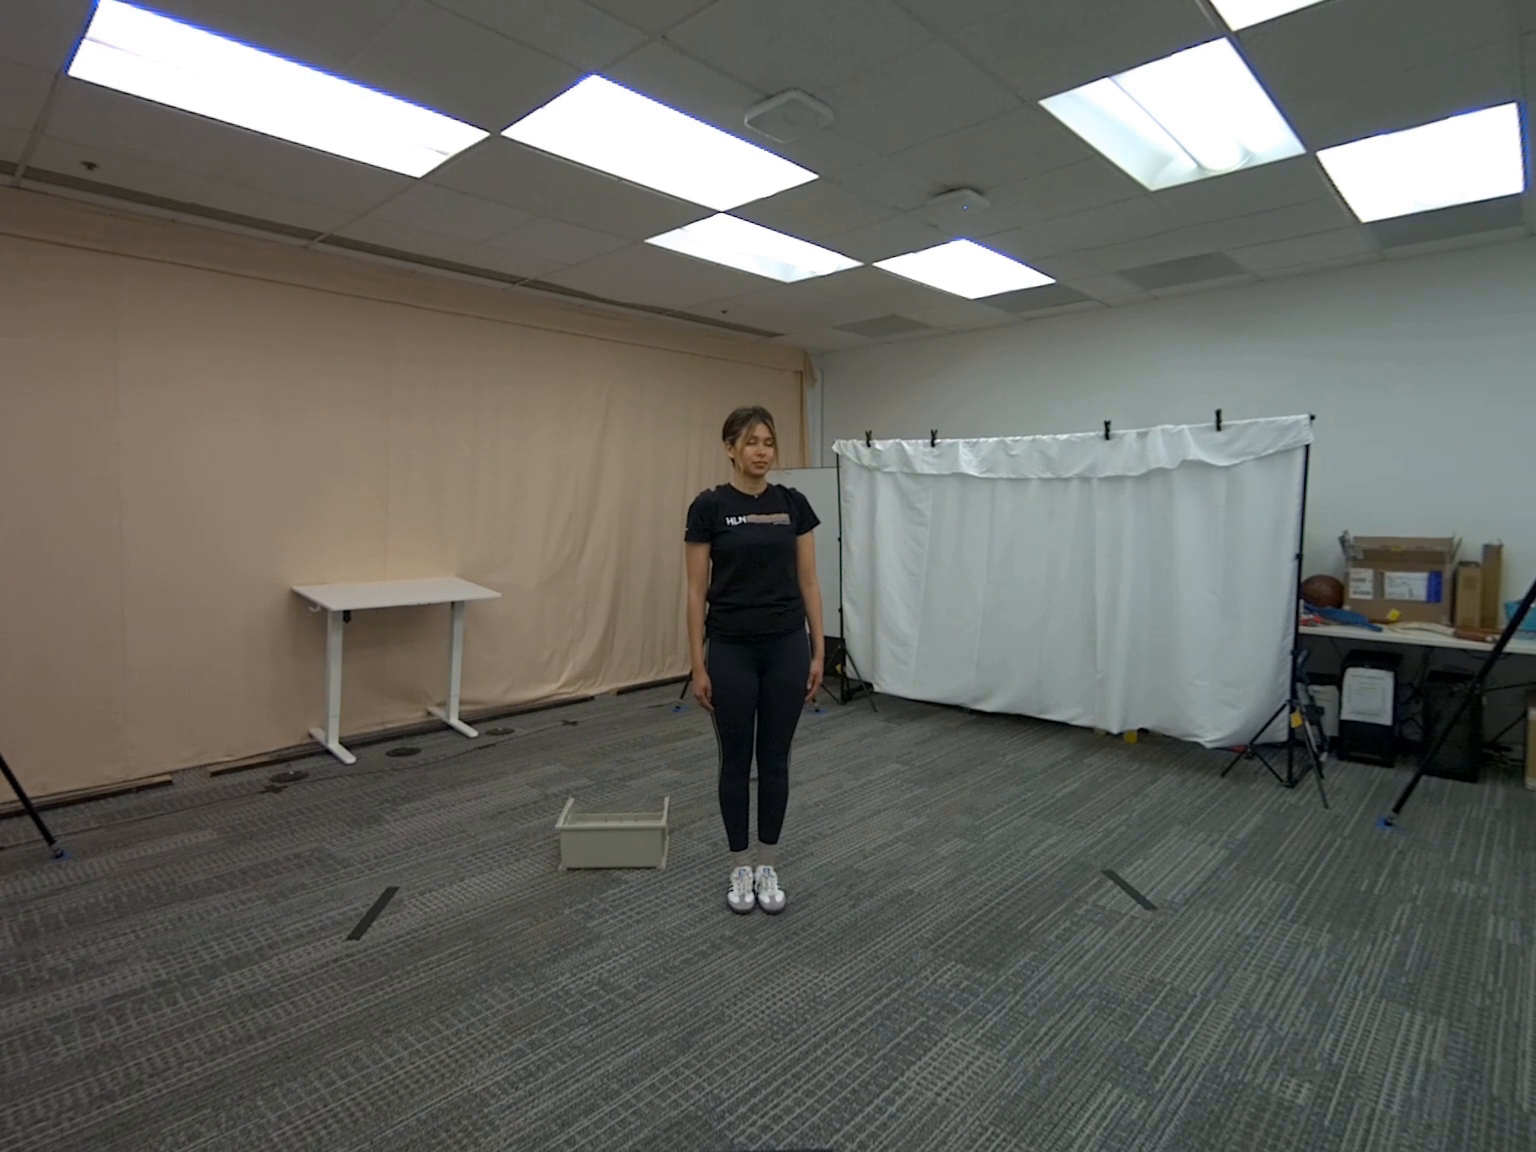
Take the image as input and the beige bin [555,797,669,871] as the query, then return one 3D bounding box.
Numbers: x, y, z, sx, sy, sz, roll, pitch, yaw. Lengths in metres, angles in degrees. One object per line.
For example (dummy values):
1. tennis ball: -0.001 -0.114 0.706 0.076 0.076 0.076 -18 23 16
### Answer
1. beige bin: -0.616 1.026 3.399 0.422 0.188 0.379 0 5 -2
